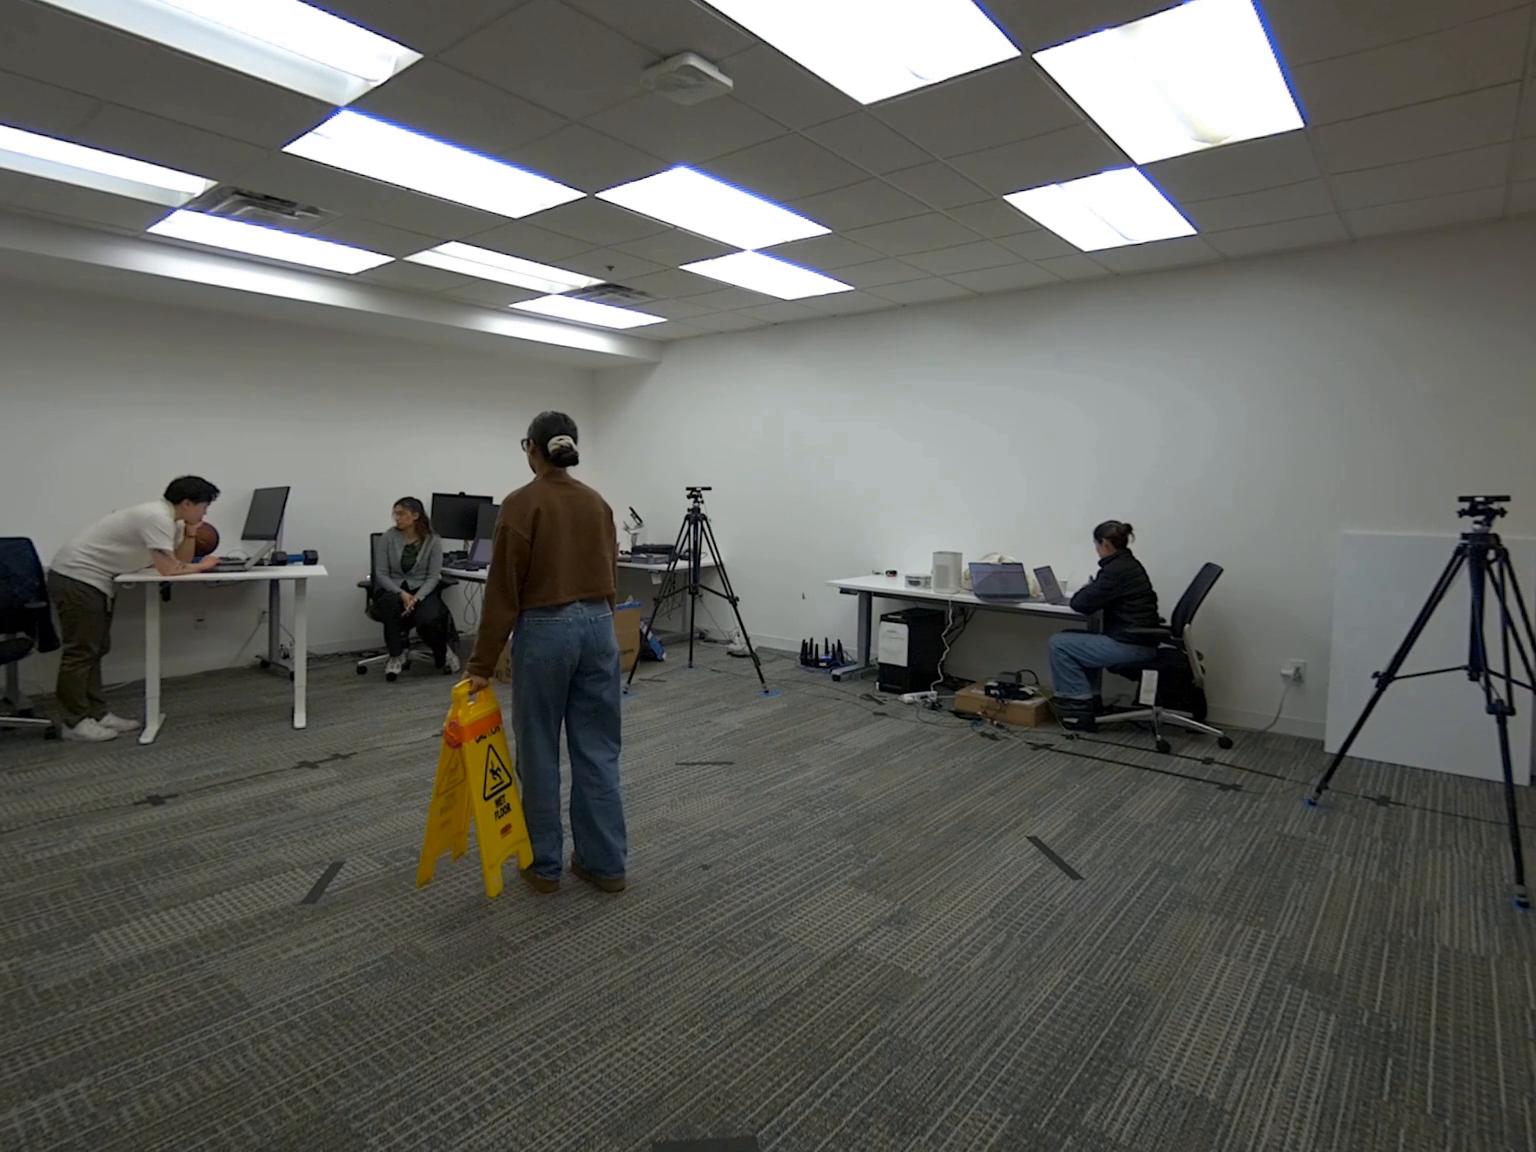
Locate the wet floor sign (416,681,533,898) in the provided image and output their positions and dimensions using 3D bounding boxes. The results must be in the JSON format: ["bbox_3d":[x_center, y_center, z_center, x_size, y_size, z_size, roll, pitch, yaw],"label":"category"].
[{"bbox_3d":[-0.968,0.659,2.755,0.294,0.644,0.279,2,4,13],"label":"wet floor sign"}]
